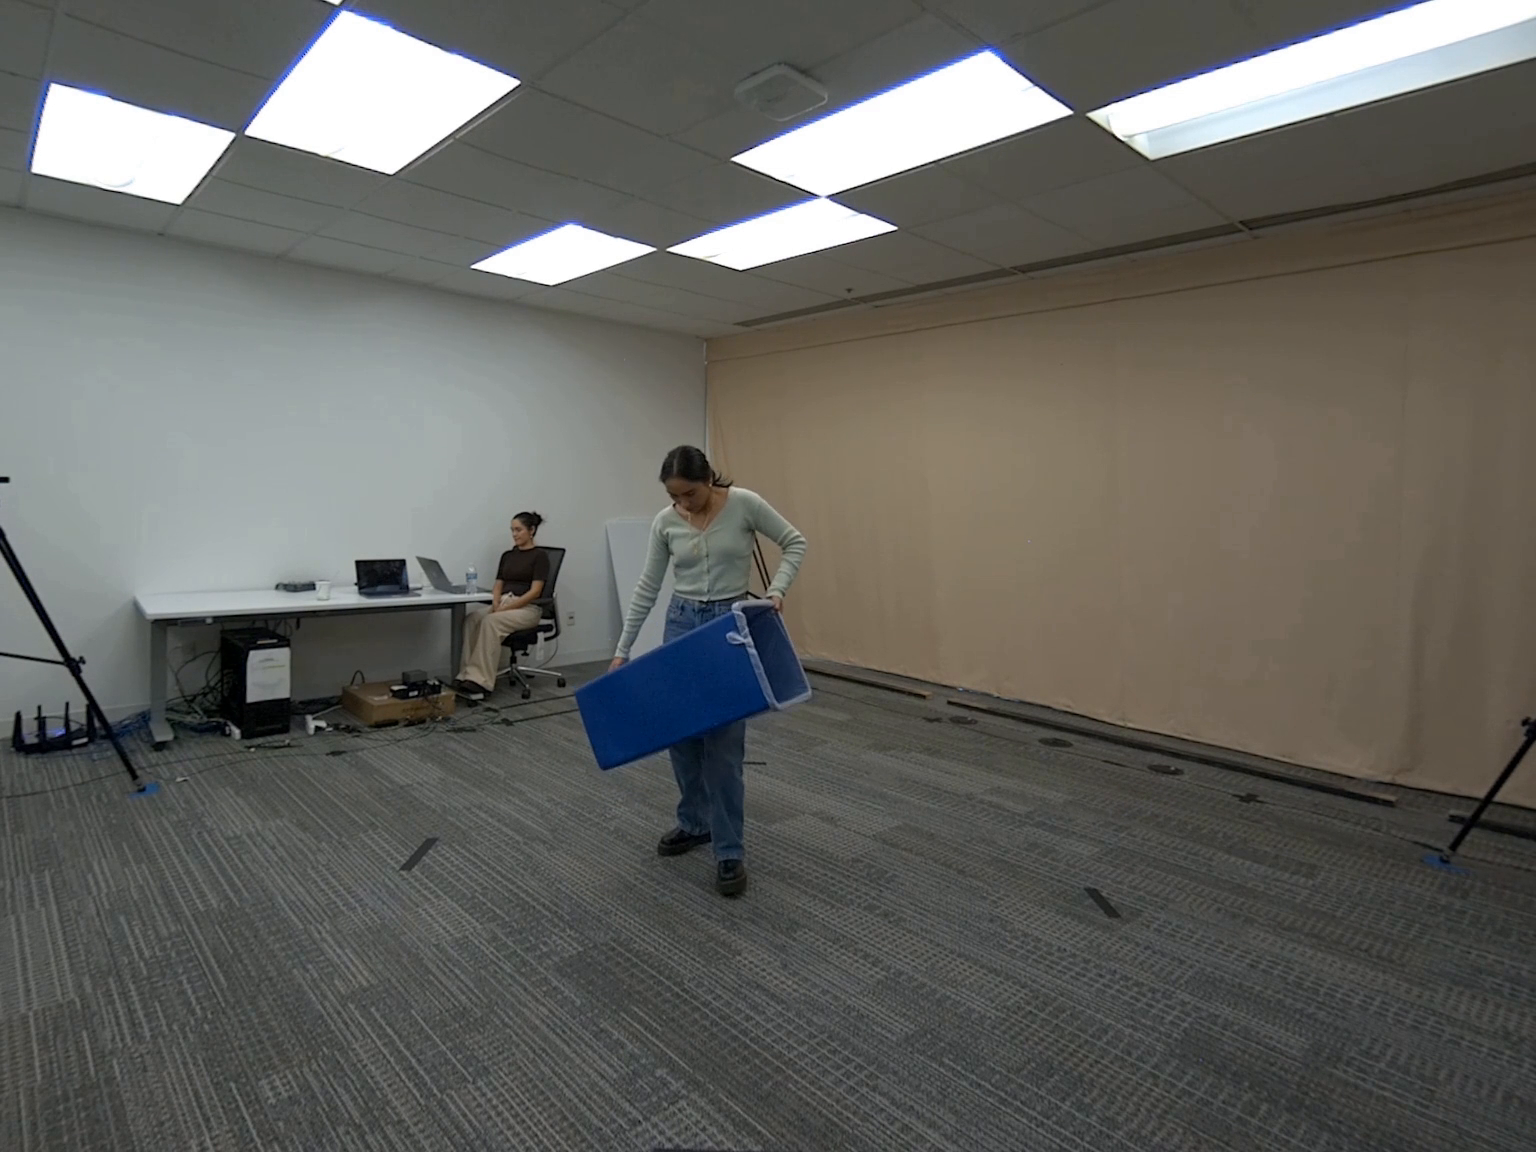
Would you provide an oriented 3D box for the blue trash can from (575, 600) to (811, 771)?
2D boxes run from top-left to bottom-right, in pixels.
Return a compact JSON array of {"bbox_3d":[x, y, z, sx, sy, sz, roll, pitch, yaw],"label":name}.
[{"bbox_3d":[-0.271,0.390,2.938,0.719,0.382,0.367,-26,-12,21],"label":"blue trash can"}]
